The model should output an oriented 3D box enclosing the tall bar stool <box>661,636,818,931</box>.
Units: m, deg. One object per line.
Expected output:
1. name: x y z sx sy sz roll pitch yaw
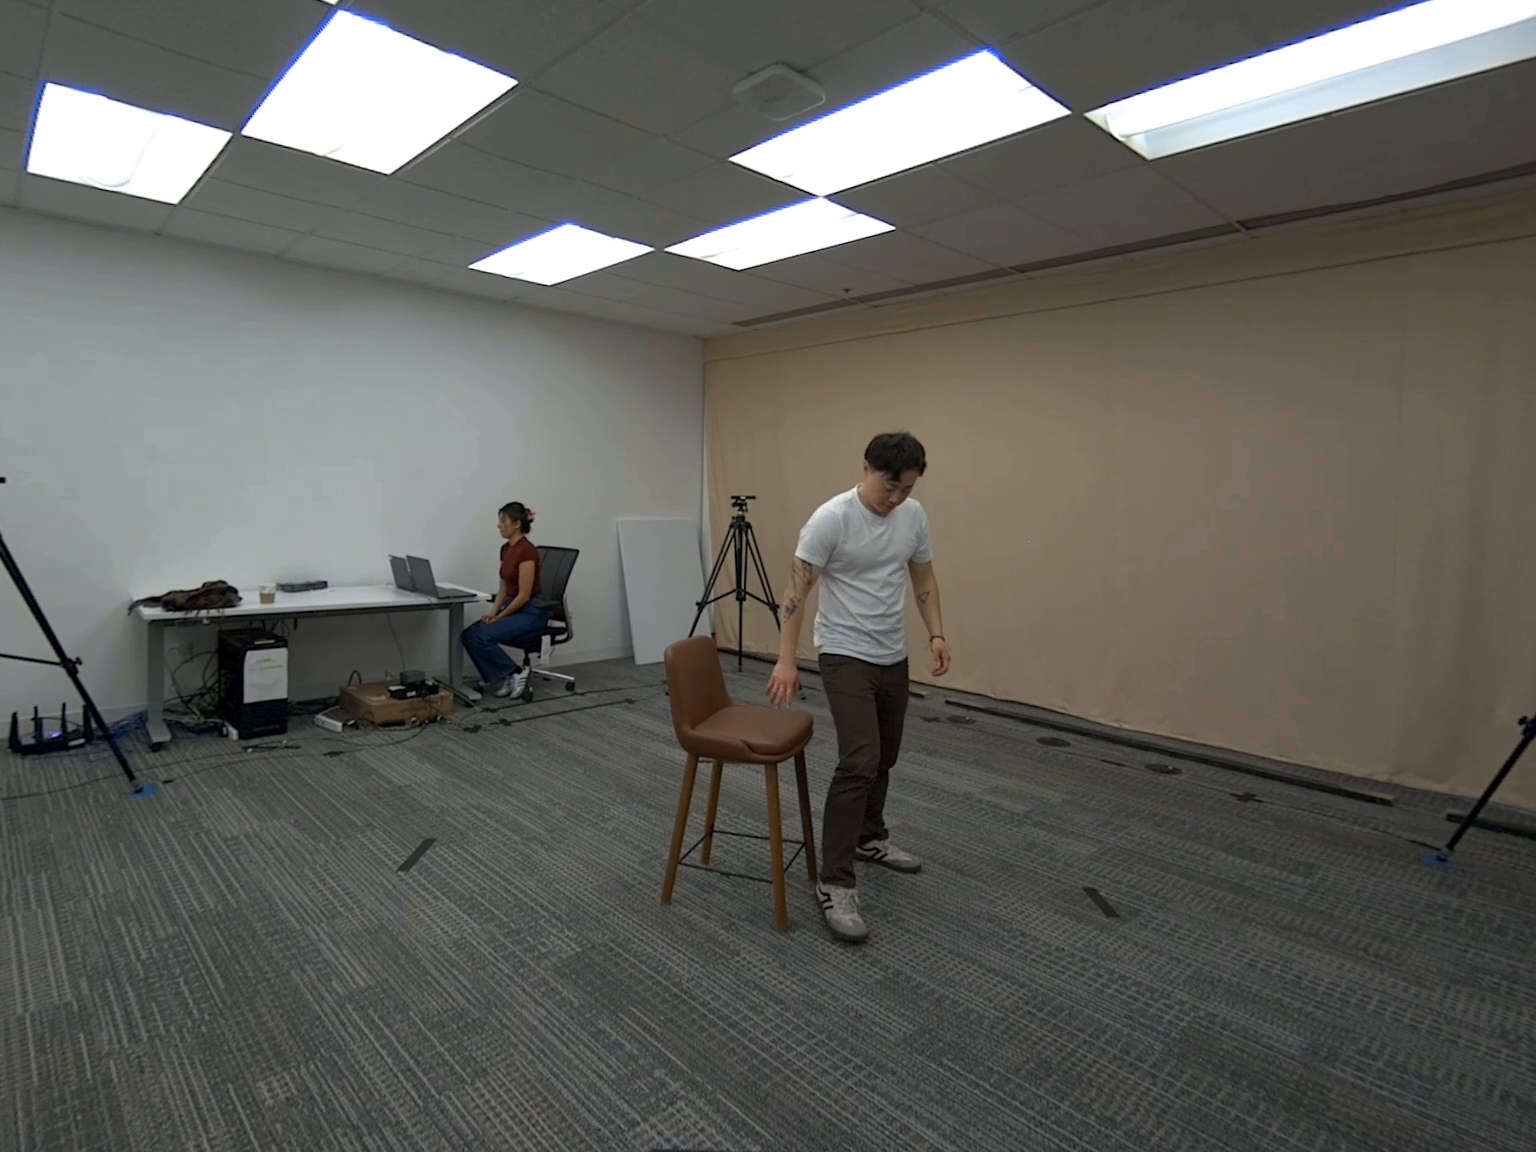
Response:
1. tall bar stool: -0.096 0.682 2.939 0.475 0.888 0.450 0 3 21
